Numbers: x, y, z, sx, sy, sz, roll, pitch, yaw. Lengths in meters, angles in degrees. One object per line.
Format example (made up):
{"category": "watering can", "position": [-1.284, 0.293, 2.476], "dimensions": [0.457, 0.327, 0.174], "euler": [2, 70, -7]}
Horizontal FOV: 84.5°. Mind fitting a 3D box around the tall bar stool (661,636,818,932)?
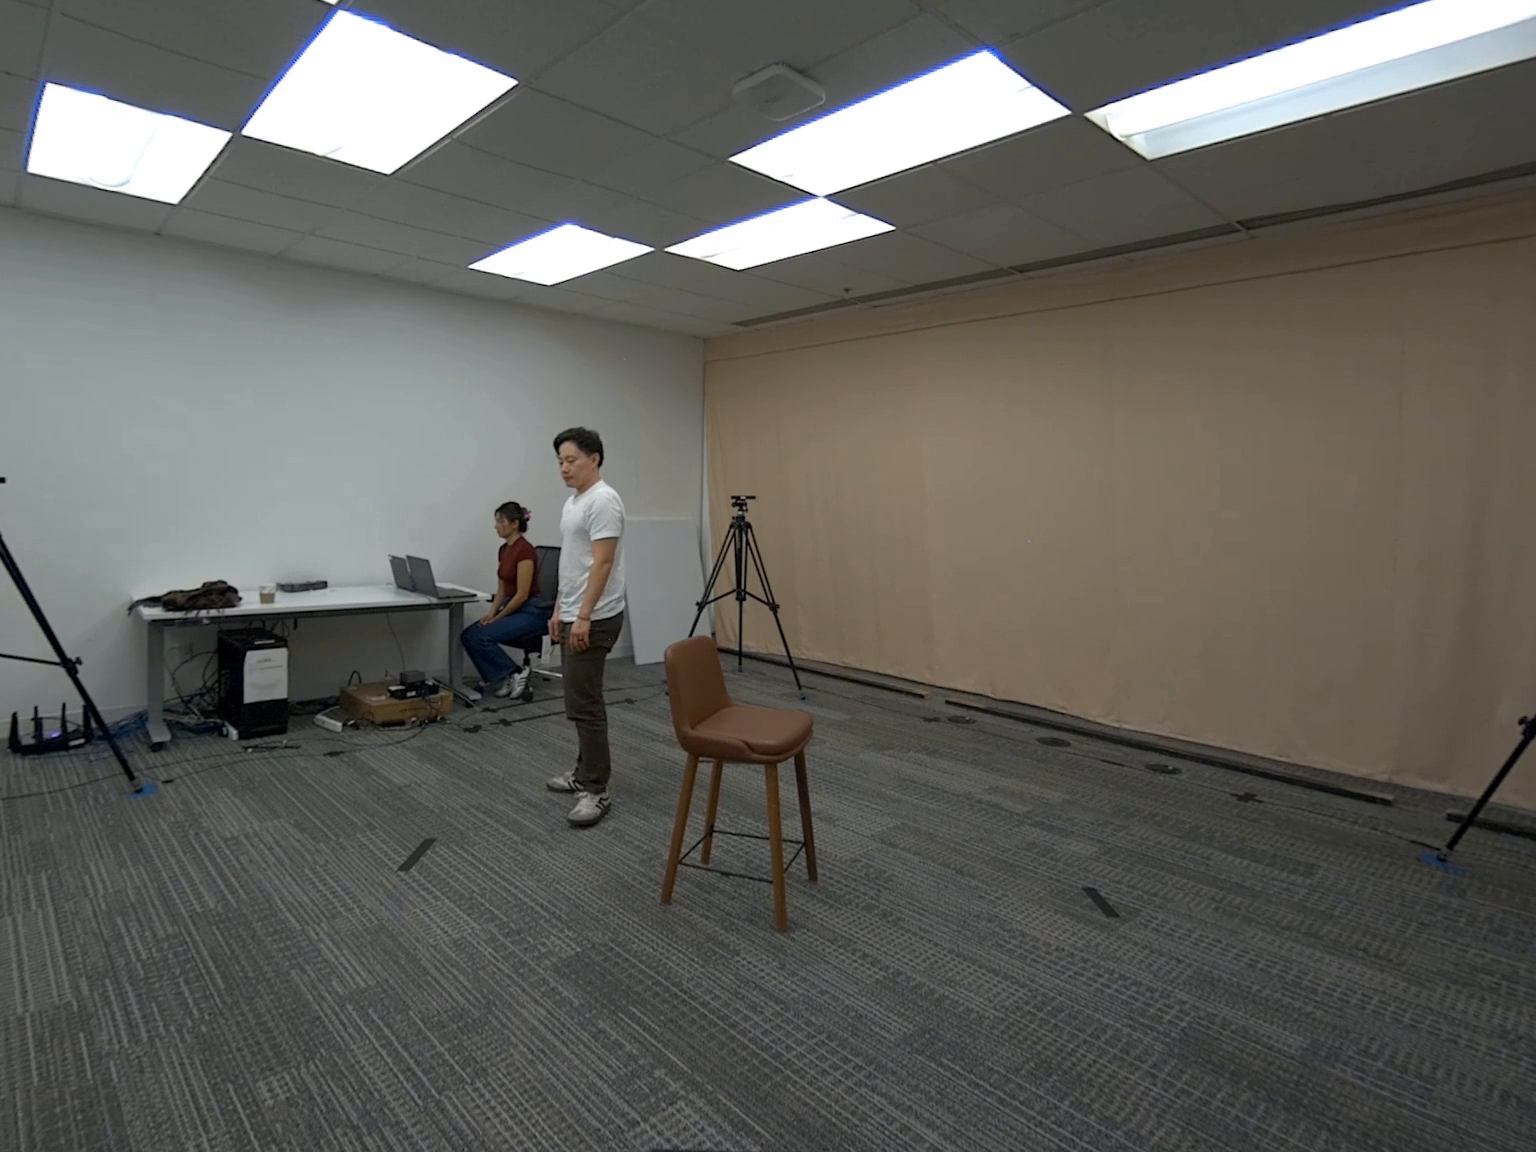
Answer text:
{"category": "tall bar stool", "position": [-0.097, 0.685, 2.942], "dimensions": [0.475, 0.888, 0.450], "euler": [1, 3, 21]}
